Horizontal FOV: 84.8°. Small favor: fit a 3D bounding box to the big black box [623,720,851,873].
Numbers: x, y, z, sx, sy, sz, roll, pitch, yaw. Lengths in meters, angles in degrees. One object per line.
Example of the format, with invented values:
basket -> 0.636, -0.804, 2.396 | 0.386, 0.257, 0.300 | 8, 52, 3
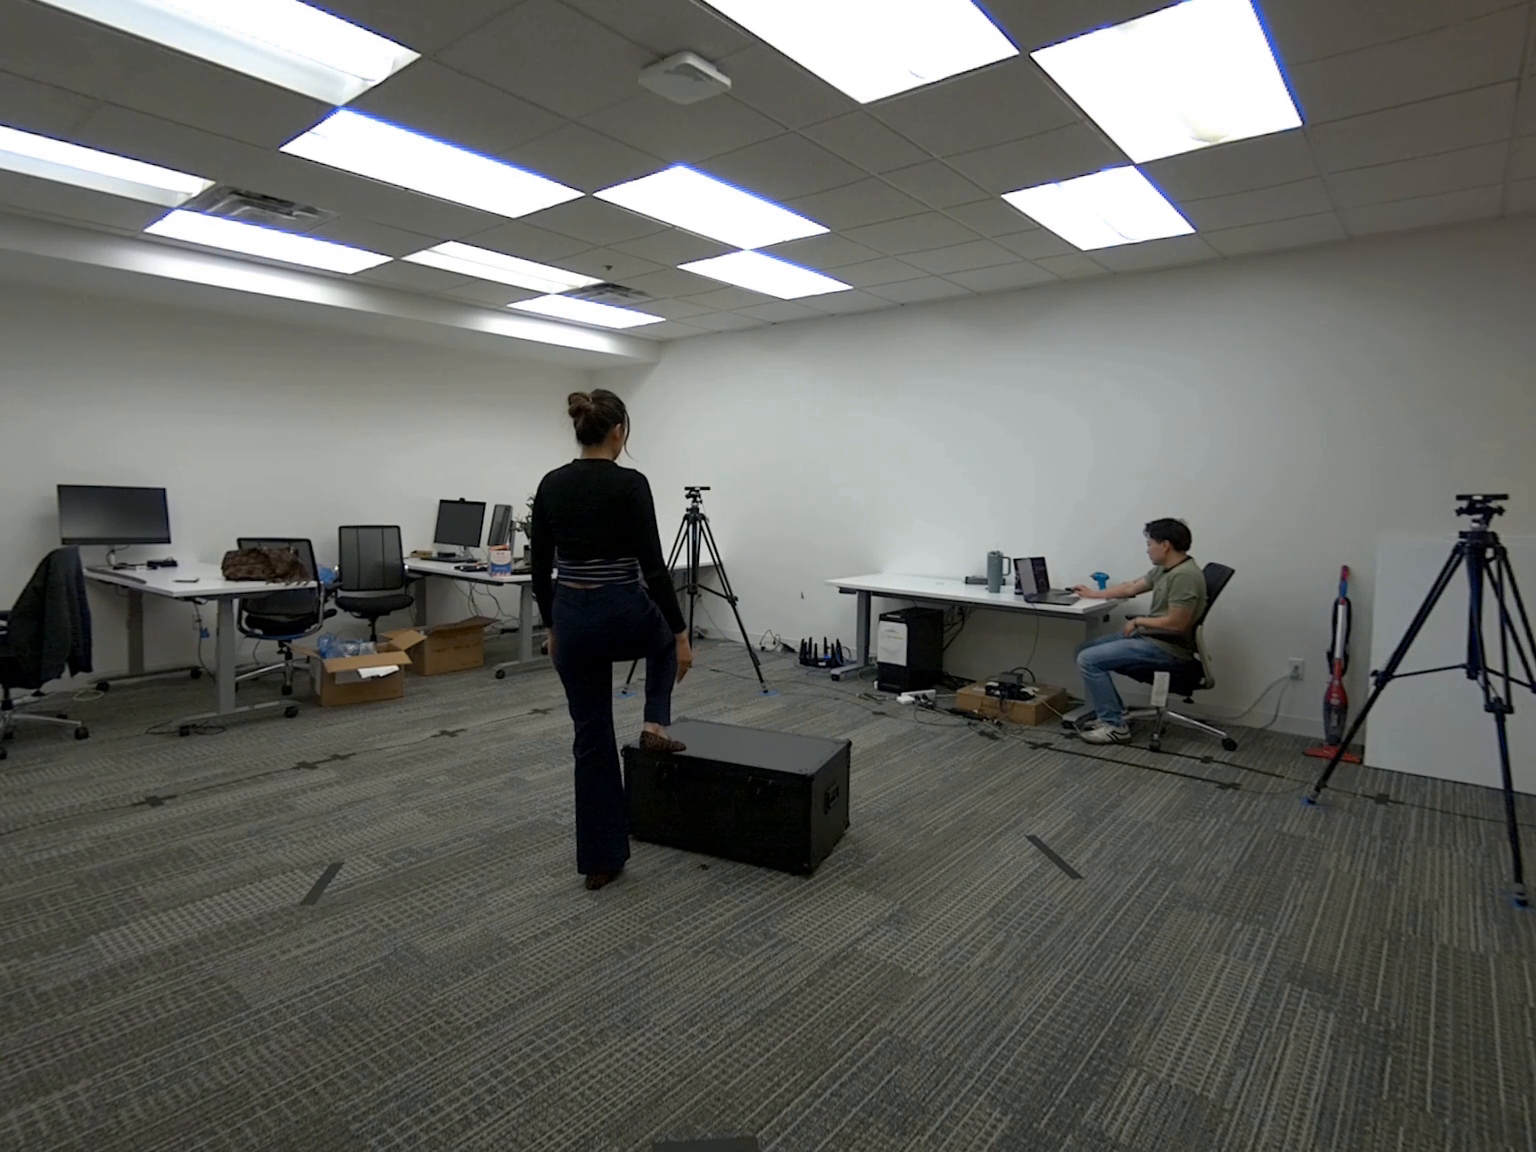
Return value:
big black box -> -0.154, 0.844, 3.412 | 0.883, 0.395, 0.510 | 3, 6, 24
